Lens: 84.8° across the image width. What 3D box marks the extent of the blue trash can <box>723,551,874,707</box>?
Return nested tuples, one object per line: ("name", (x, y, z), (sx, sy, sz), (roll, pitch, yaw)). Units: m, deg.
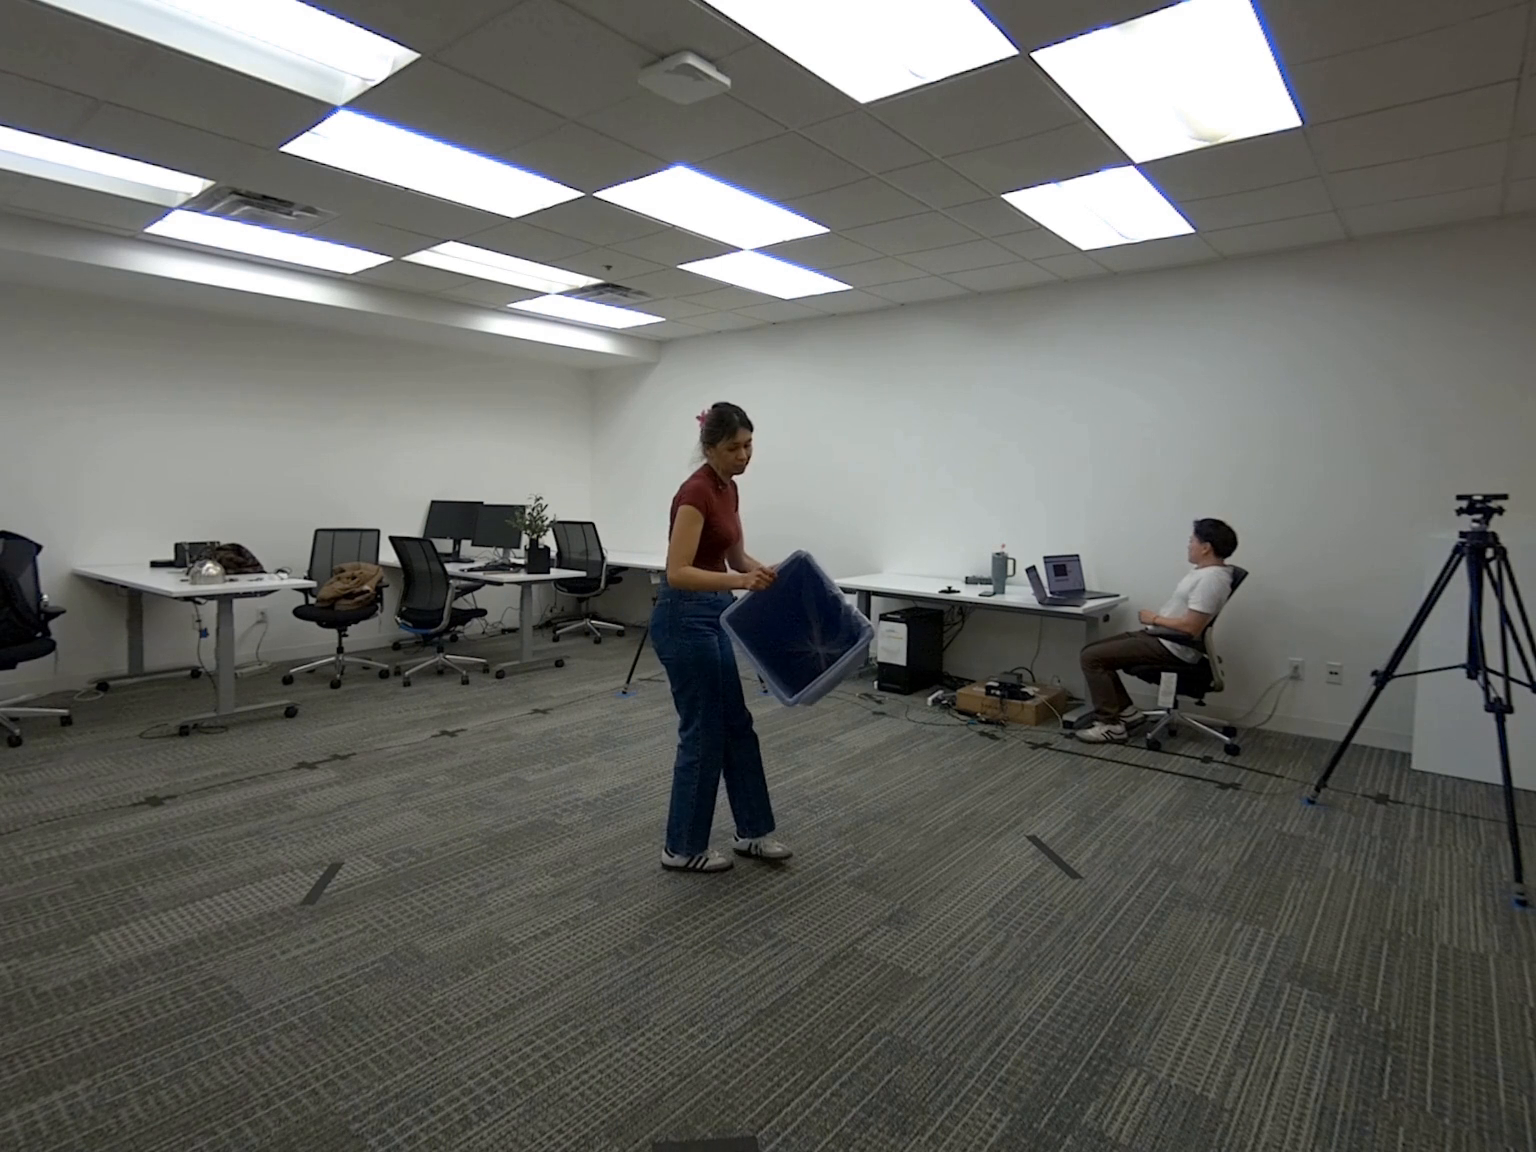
("blue trash can", (0.115, 0.224, 3.000), (0.374, 0.387, 0.697), (-40, -15, -1))
